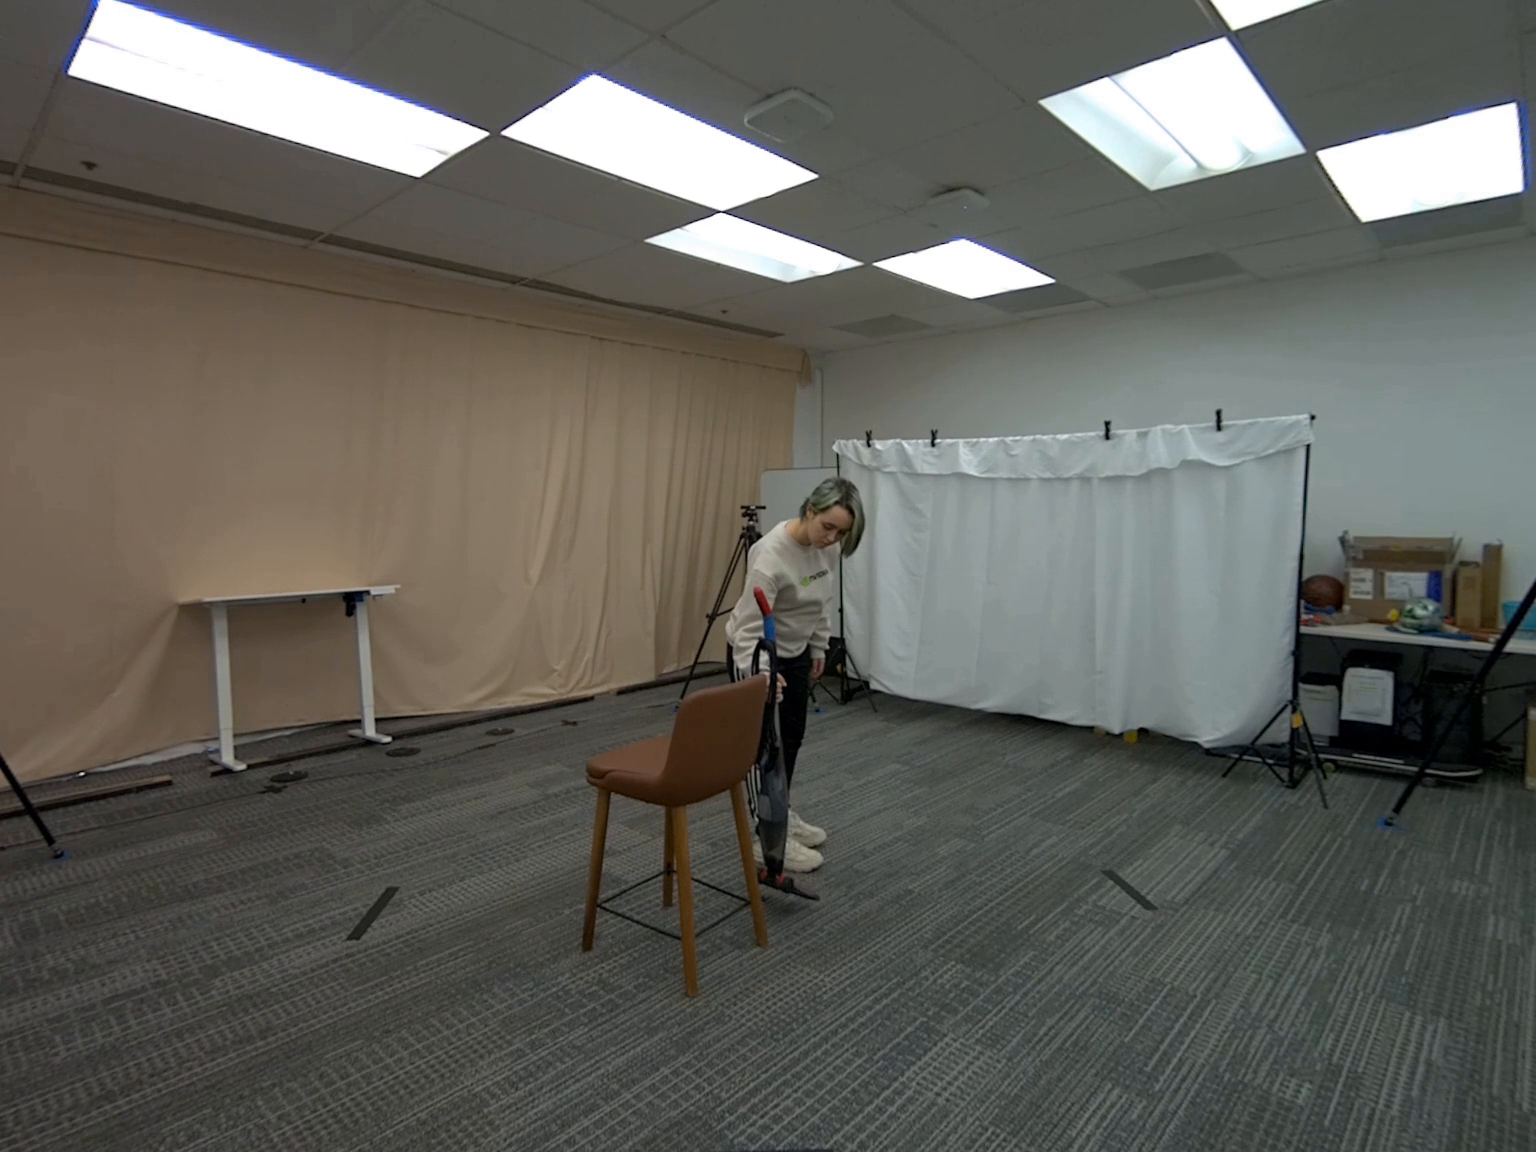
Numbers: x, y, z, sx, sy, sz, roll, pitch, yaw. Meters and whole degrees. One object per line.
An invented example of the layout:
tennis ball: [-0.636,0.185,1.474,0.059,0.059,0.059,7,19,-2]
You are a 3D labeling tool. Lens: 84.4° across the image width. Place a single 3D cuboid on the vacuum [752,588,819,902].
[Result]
vacuum: [0.009,0.564,2.808,0.261,1.041,0.140,4,14,39]
